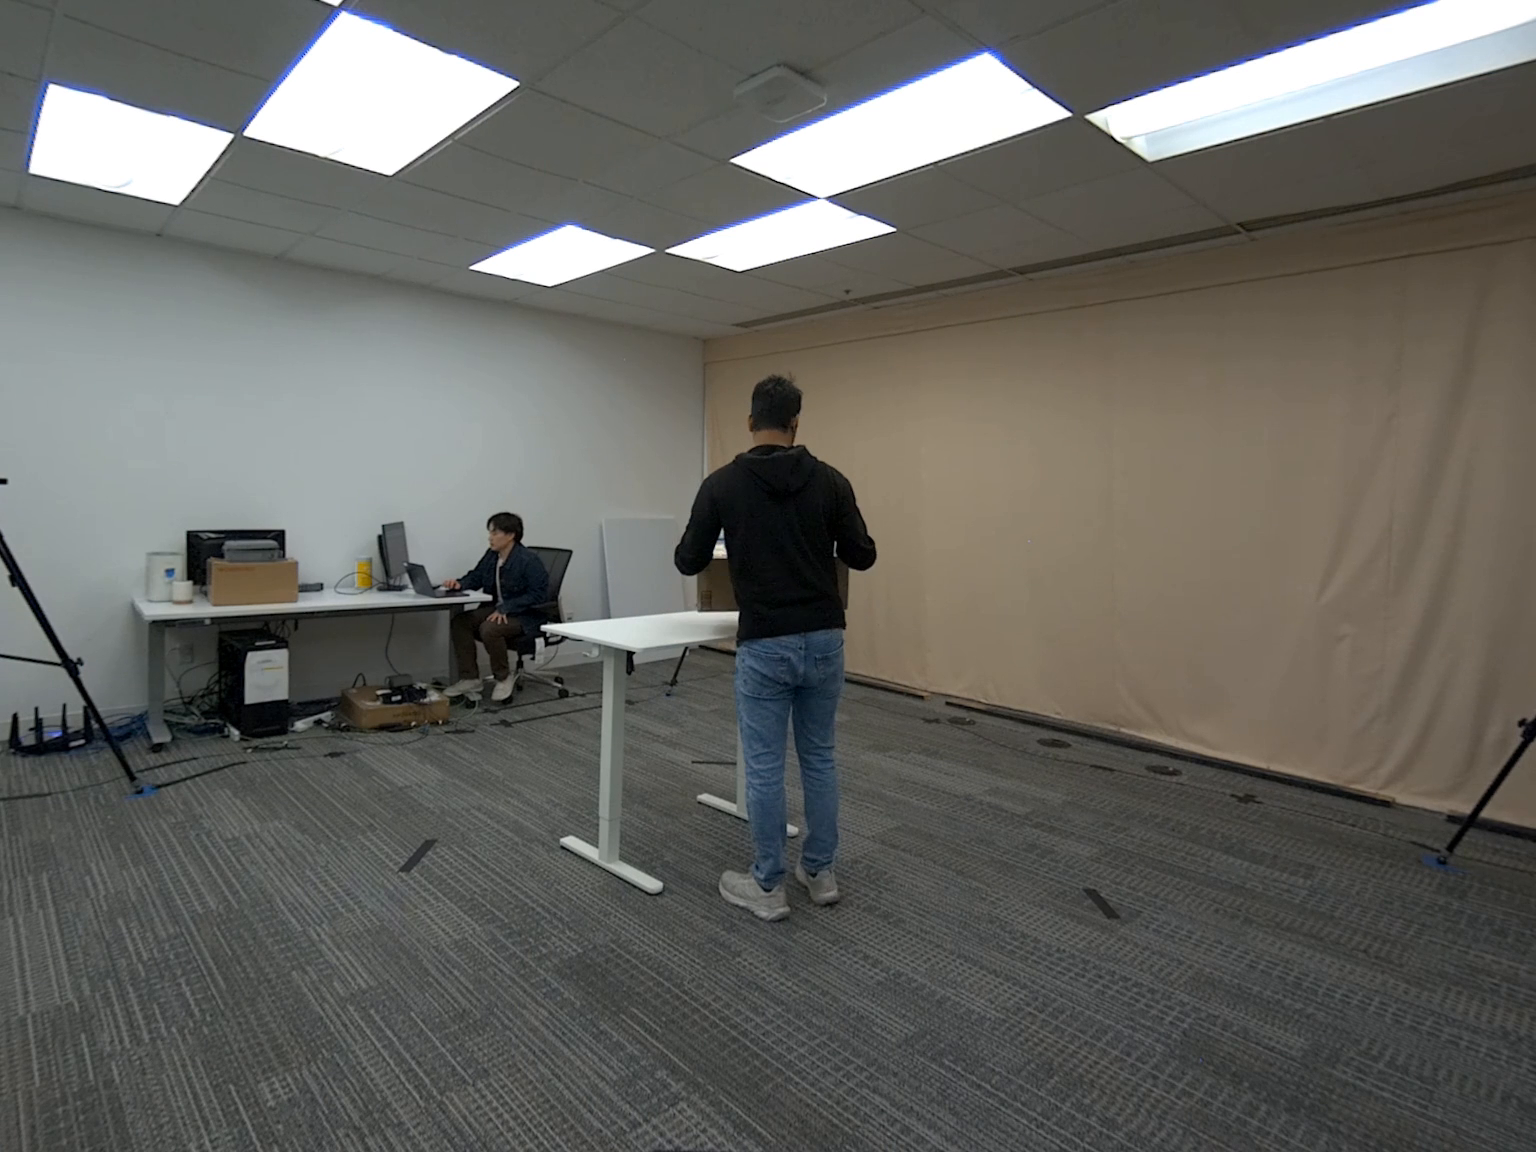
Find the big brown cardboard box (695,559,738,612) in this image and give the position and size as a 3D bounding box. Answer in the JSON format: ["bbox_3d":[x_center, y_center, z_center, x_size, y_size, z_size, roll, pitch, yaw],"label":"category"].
[{"bbox_3d":[-0.002,-0.031,3.297,0.587,0.230,0.424,0,17,-4],"label":"big brown cardboard box"}]
